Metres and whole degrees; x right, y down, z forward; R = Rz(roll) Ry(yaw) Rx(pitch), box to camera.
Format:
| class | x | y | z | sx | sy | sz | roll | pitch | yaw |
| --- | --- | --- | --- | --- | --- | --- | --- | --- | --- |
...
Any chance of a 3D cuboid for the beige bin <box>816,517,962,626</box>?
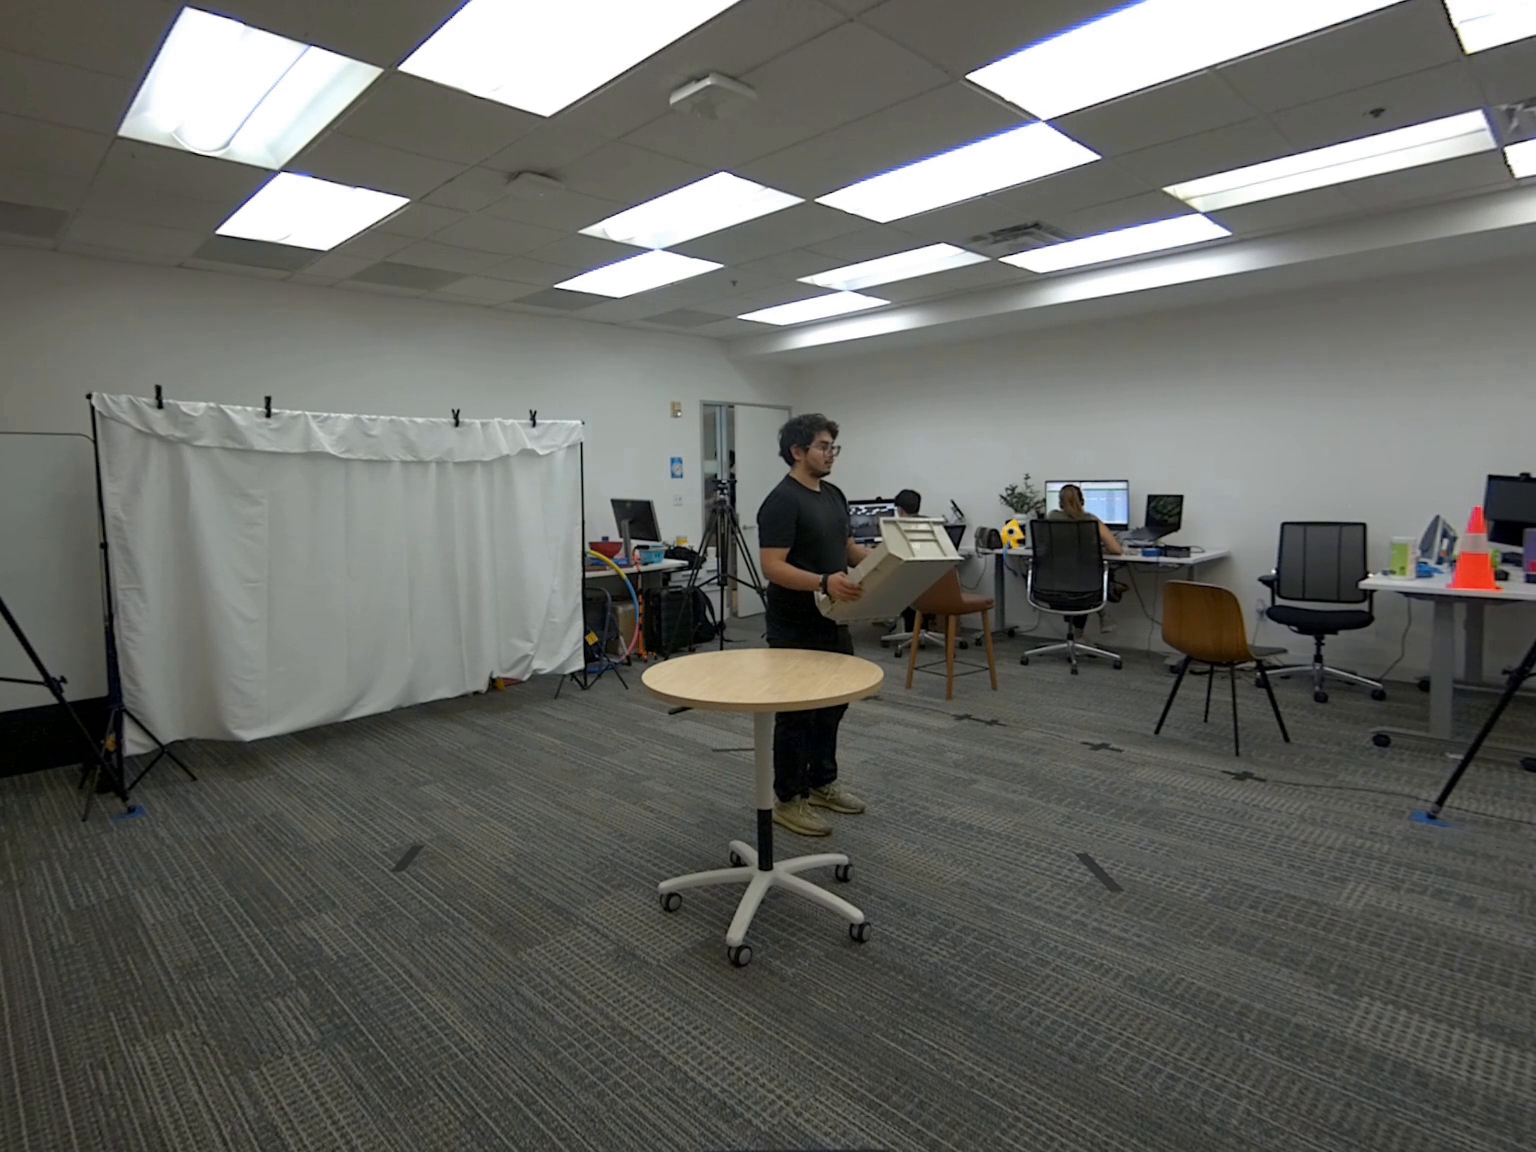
| class | x | y | z | sx | sy | sz | roll | pitch | yaw |
| --- | --- | --- | --- | --- | --- | --- | --- | --- | --- |
| beige bin | 0.423 | -0.015 | 3.114 | 0.367 | 0.195 | 0.421 | 1 | -35 | -36 |
